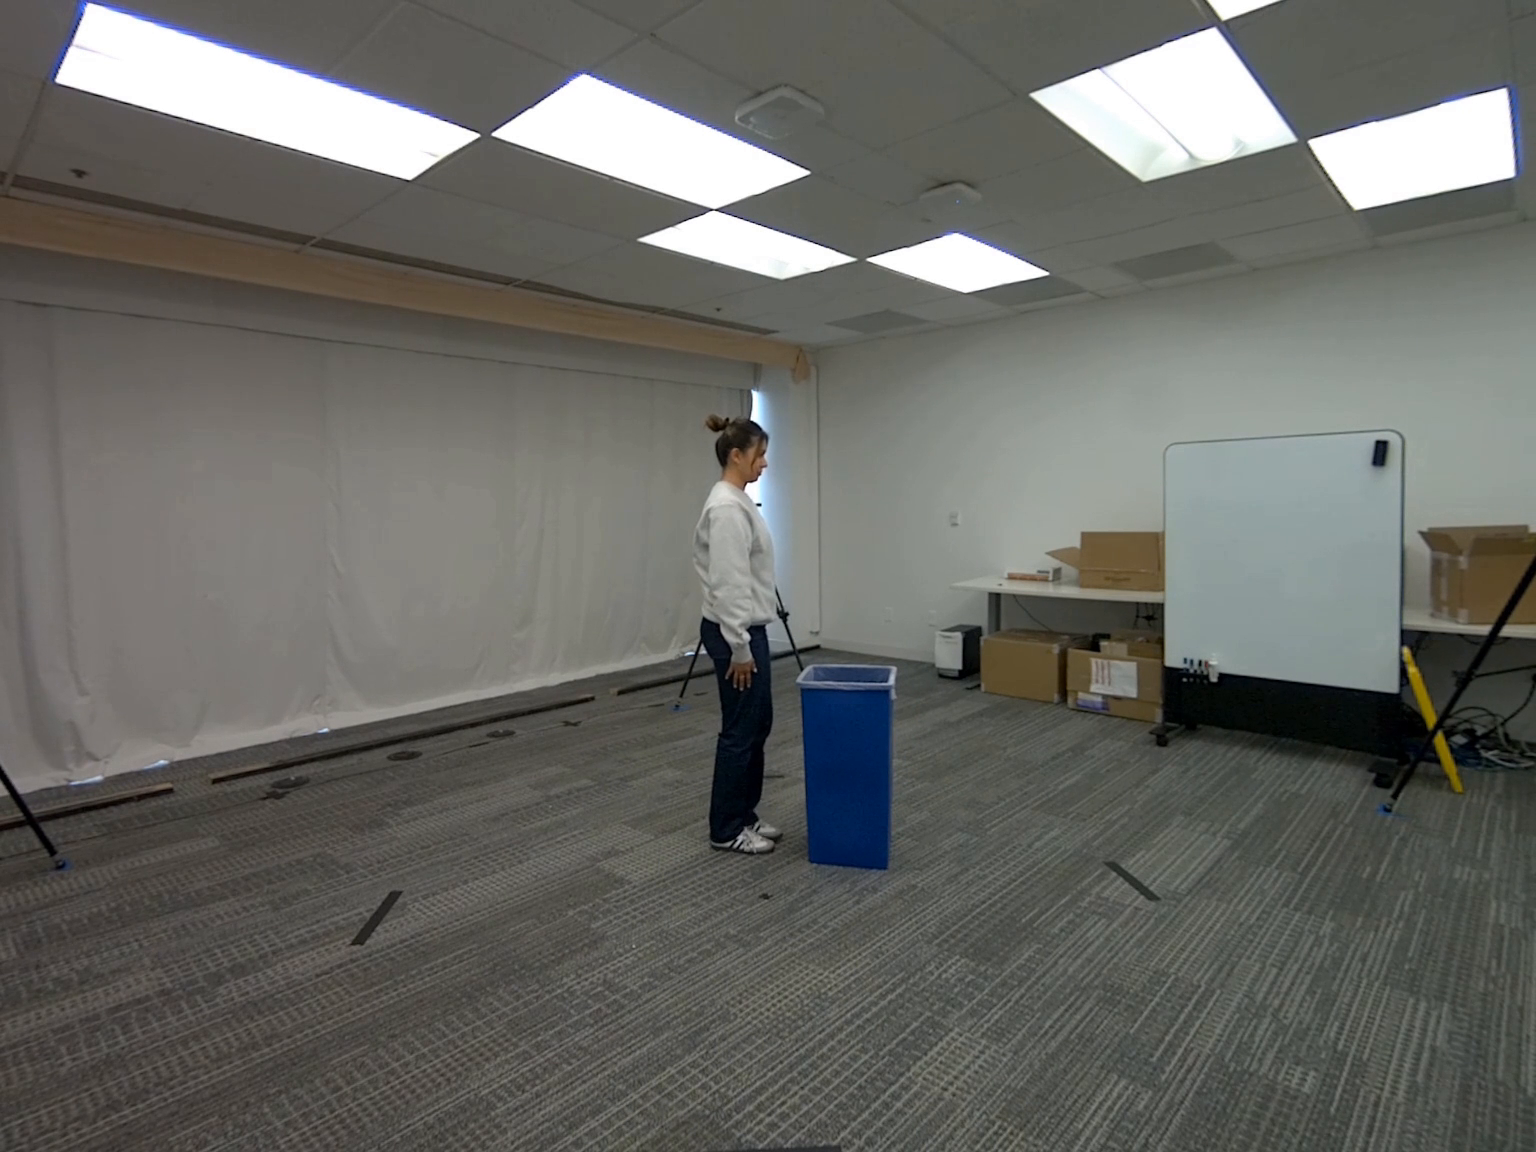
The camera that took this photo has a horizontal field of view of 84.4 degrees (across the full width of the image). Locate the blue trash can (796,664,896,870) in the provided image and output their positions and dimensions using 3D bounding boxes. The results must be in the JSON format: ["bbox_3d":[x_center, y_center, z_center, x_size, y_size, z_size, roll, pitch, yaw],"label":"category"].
[{"bbox_3d":[0.322,0.742,3.333,0.380,0.712,0.373,0,3,13],"label":"blue trash can"}]
